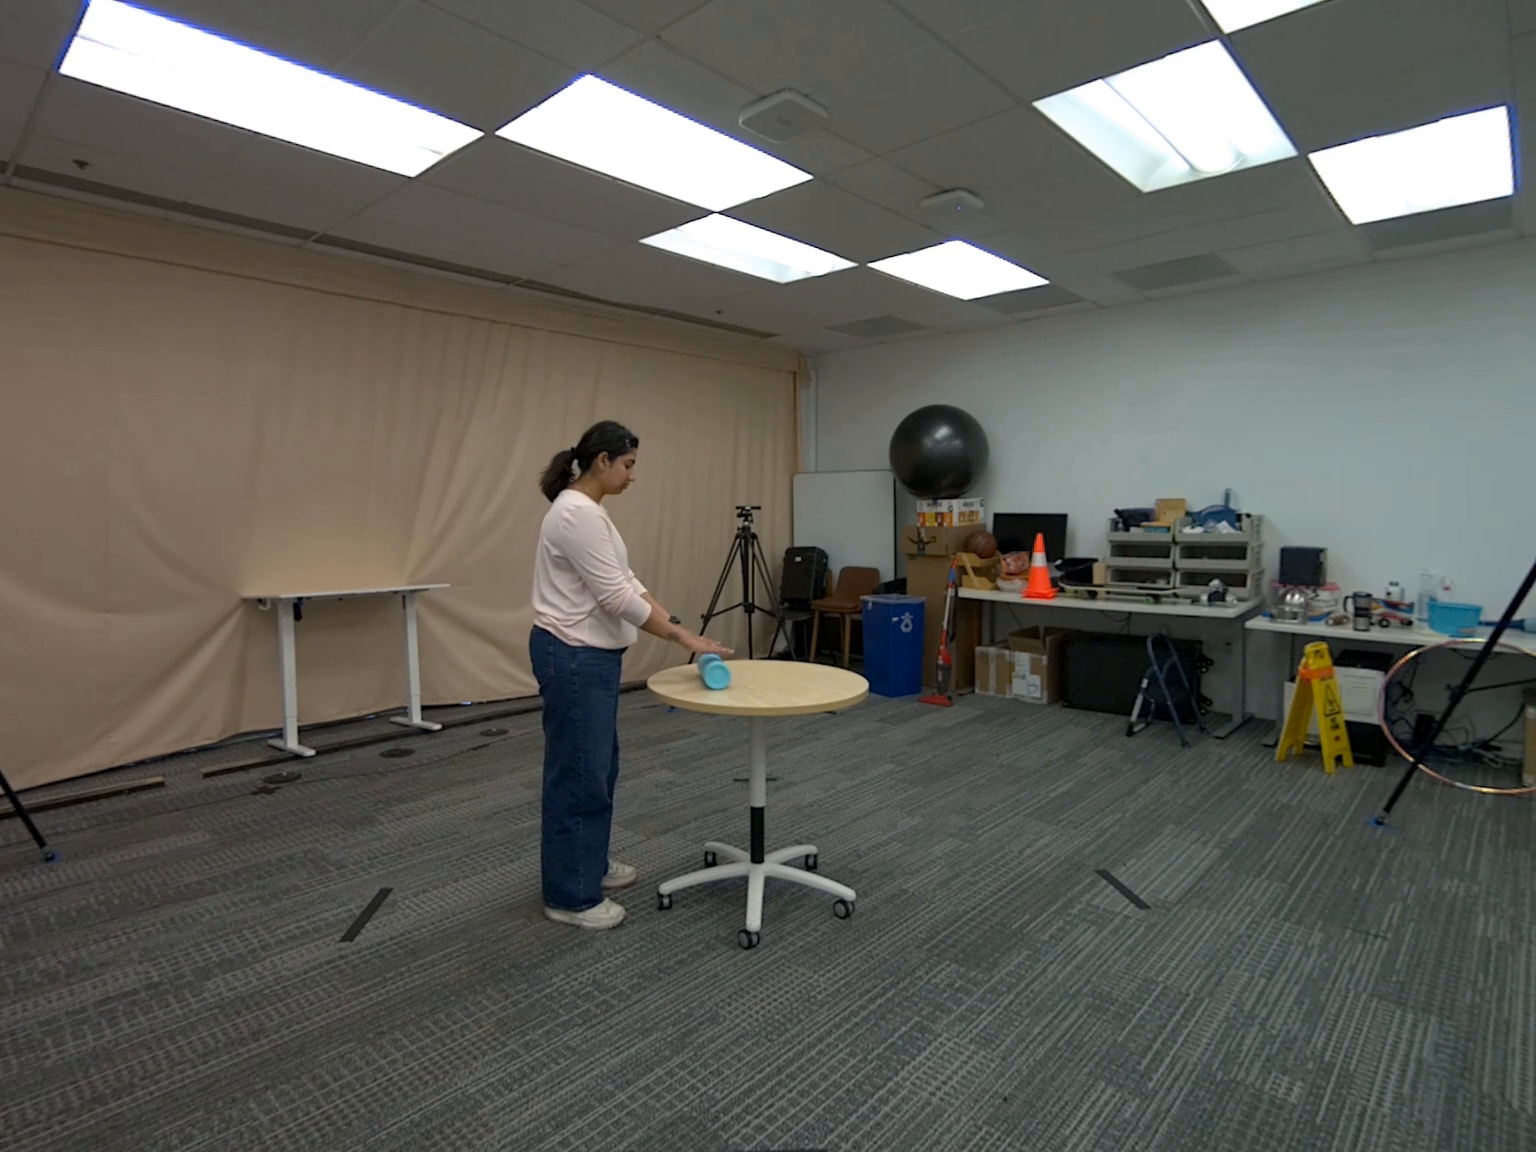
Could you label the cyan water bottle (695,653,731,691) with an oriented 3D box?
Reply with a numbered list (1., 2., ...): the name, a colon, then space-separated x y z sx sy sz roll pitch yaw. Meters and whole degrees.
1. cyan water bottle: -0.186 0.321 2.913 0.091 0.092 0.287 -1 5 -10
